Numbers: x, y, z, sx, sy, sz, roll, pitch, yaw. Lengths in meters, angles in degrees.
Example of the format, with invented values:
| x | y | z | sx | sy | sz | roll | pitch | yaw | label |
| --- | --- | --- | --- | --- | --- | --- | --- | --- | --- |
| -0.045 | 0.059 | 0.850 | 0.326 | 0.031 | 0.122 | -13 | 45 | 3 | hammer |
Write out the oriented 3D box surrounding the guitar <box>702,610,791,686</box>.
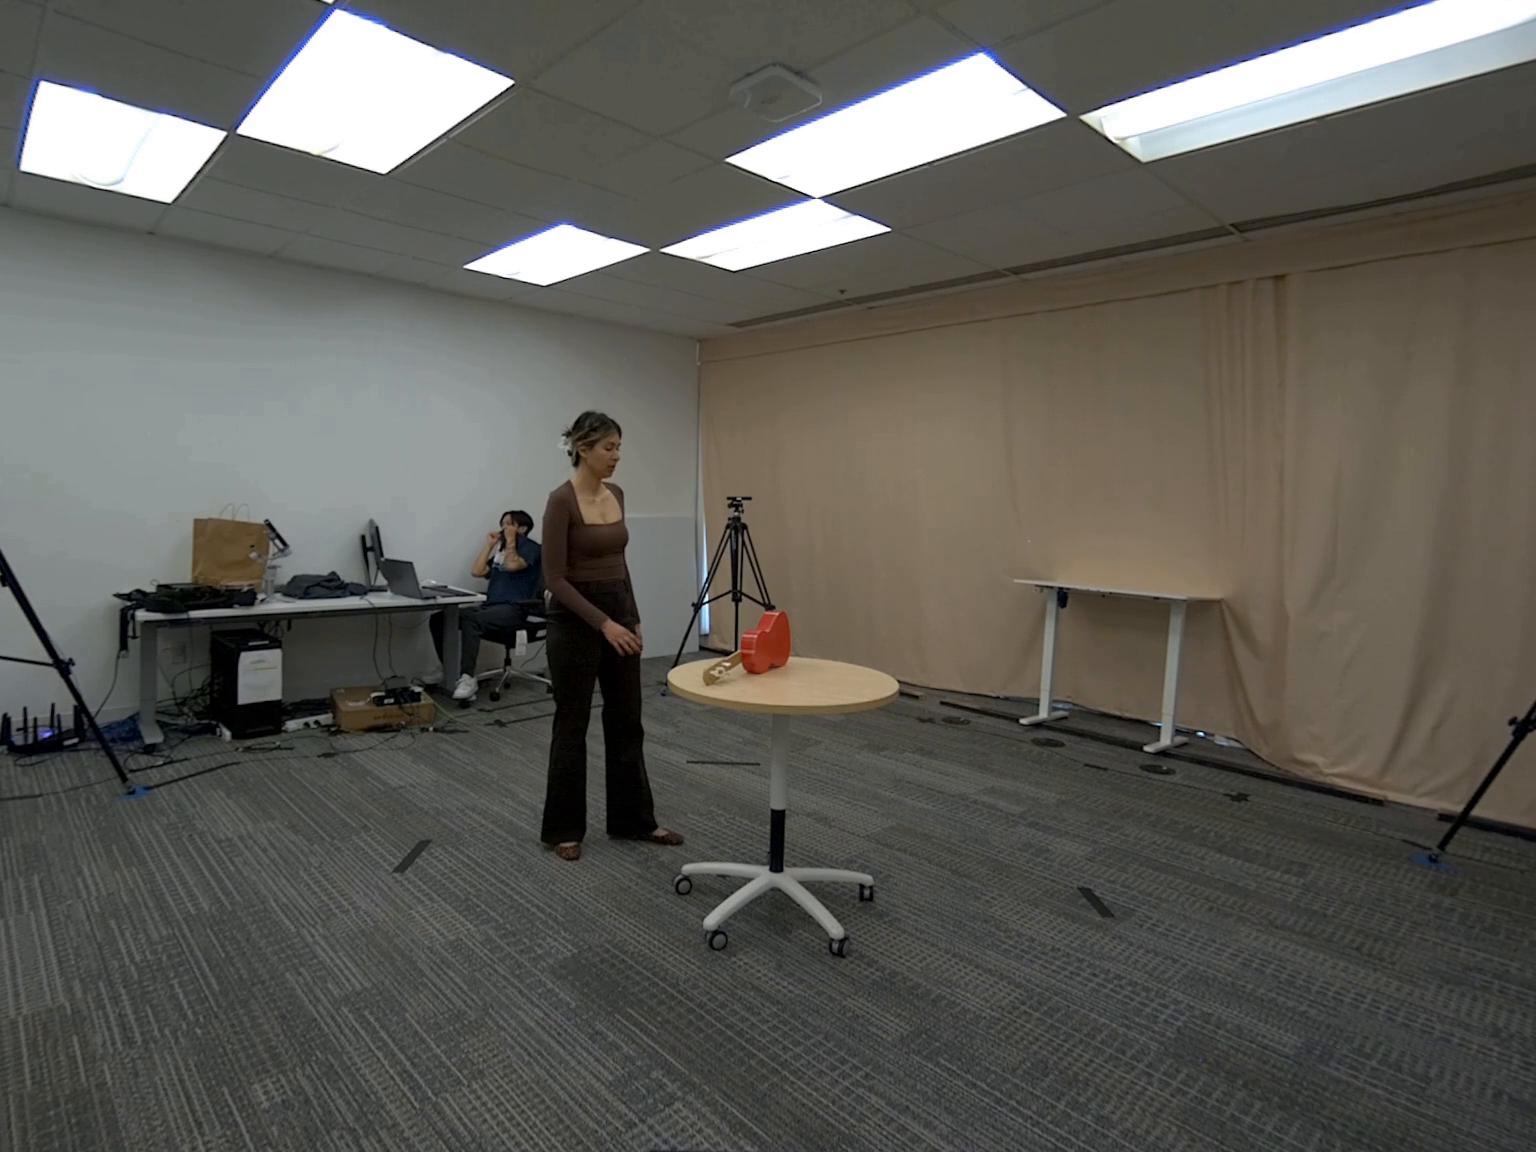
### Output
| x | y | z | sx | sy | sz | roll | pitch | yaw | label |
| --- | --- | --- | --- | --- | --- | --- | --- | --- | --- |
| -0.063 | 0.294 | 2.847 | 0.072 | 0.190 | 0.495 | 5 | 24 | 27 | guitar |
